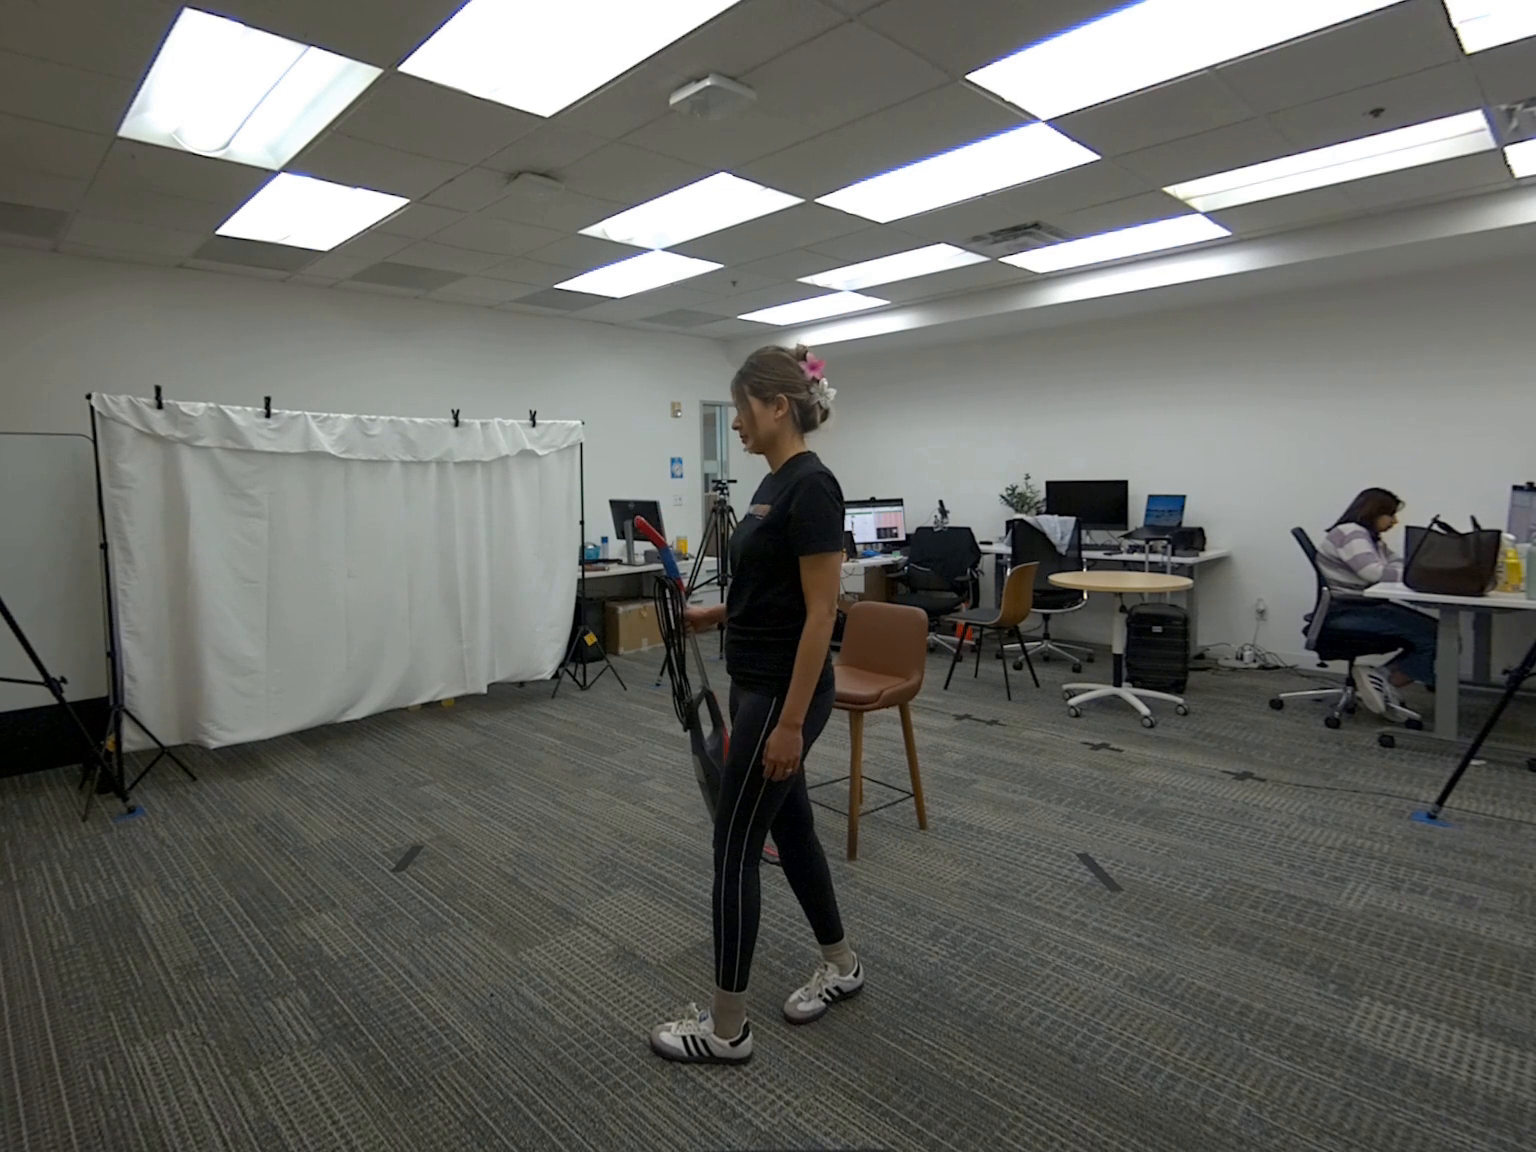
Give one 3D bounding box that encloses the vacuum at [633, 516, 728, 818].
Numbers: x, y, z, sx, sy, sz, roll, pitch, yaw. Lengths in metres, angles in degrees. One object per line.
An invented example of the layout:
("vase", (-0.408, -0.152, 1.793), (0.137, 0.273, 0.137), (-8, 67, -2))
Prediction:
("vacuum", (-0.214, 0.333, 2.425), (0.142, 1.034, 0.260), (-24, 15, -36))
